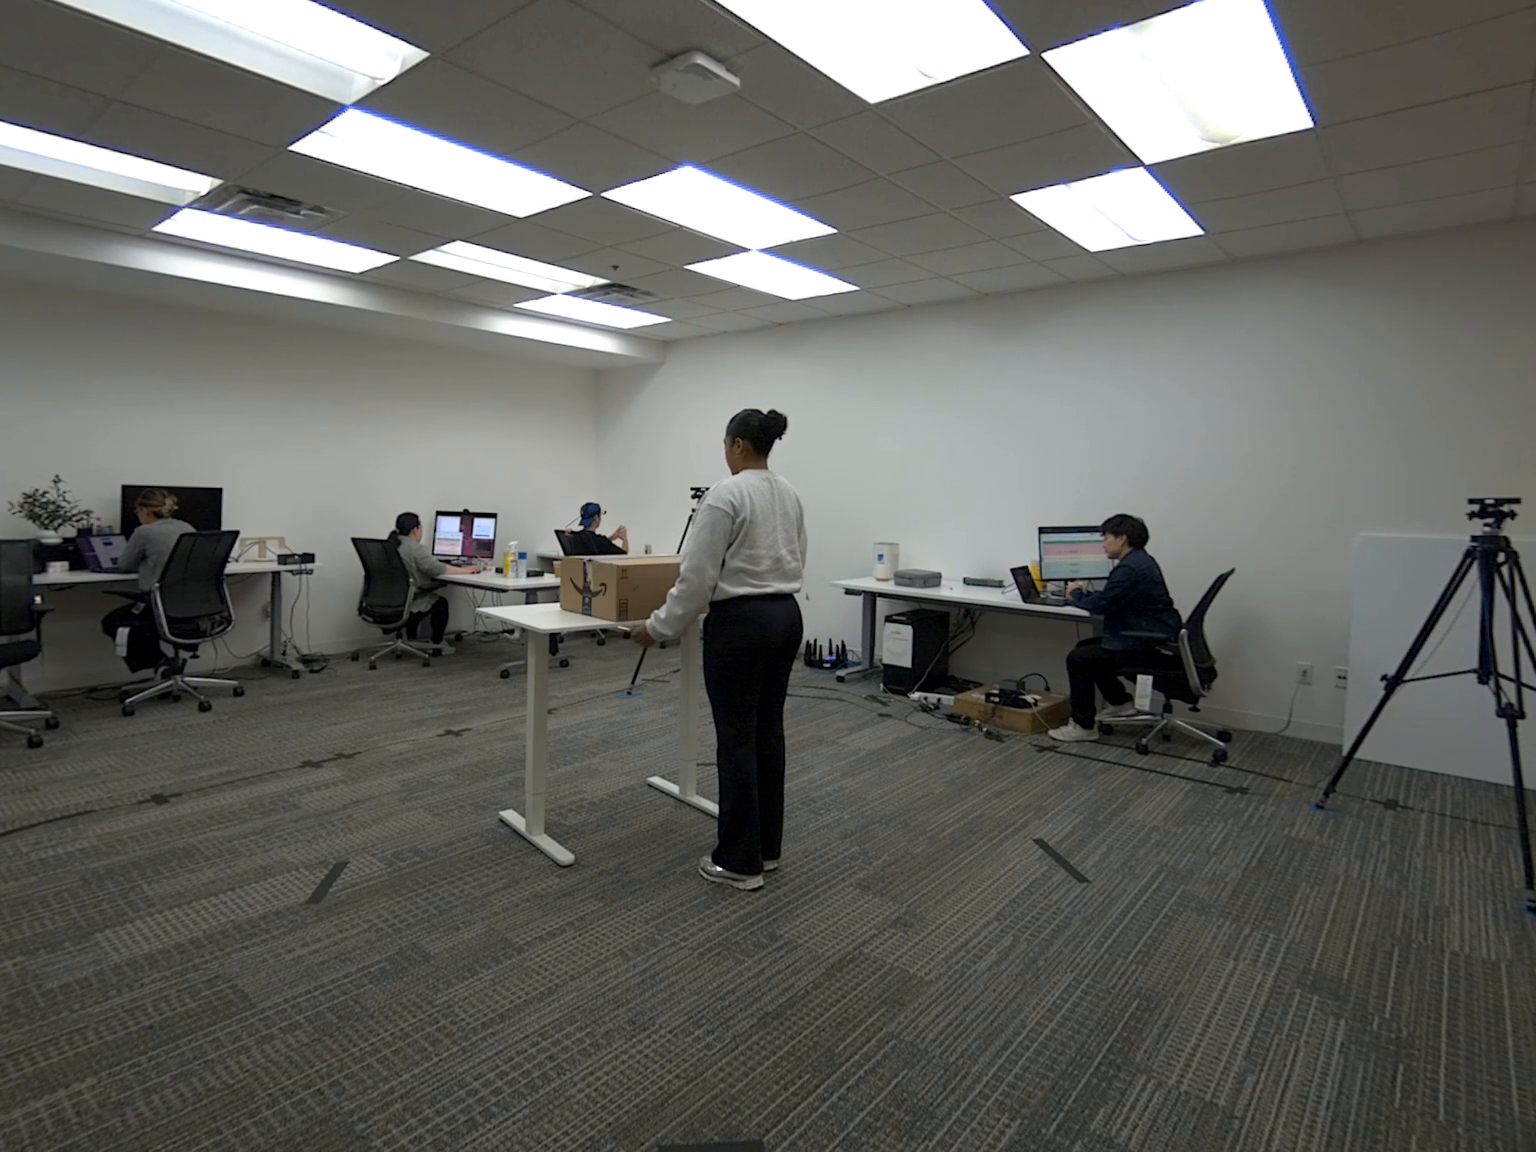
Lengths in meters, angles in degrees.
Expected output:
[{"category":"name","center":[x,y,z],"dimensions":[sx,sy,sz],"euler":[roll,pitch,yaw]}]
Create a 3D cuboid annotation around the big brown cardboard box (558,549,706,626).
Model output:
[{"category":"big brown cardboard box","center":[-0.509,0.031,3.500],"dimensions":[0.571,0.232,0.432],"euler":[-5,8,-43]}]
